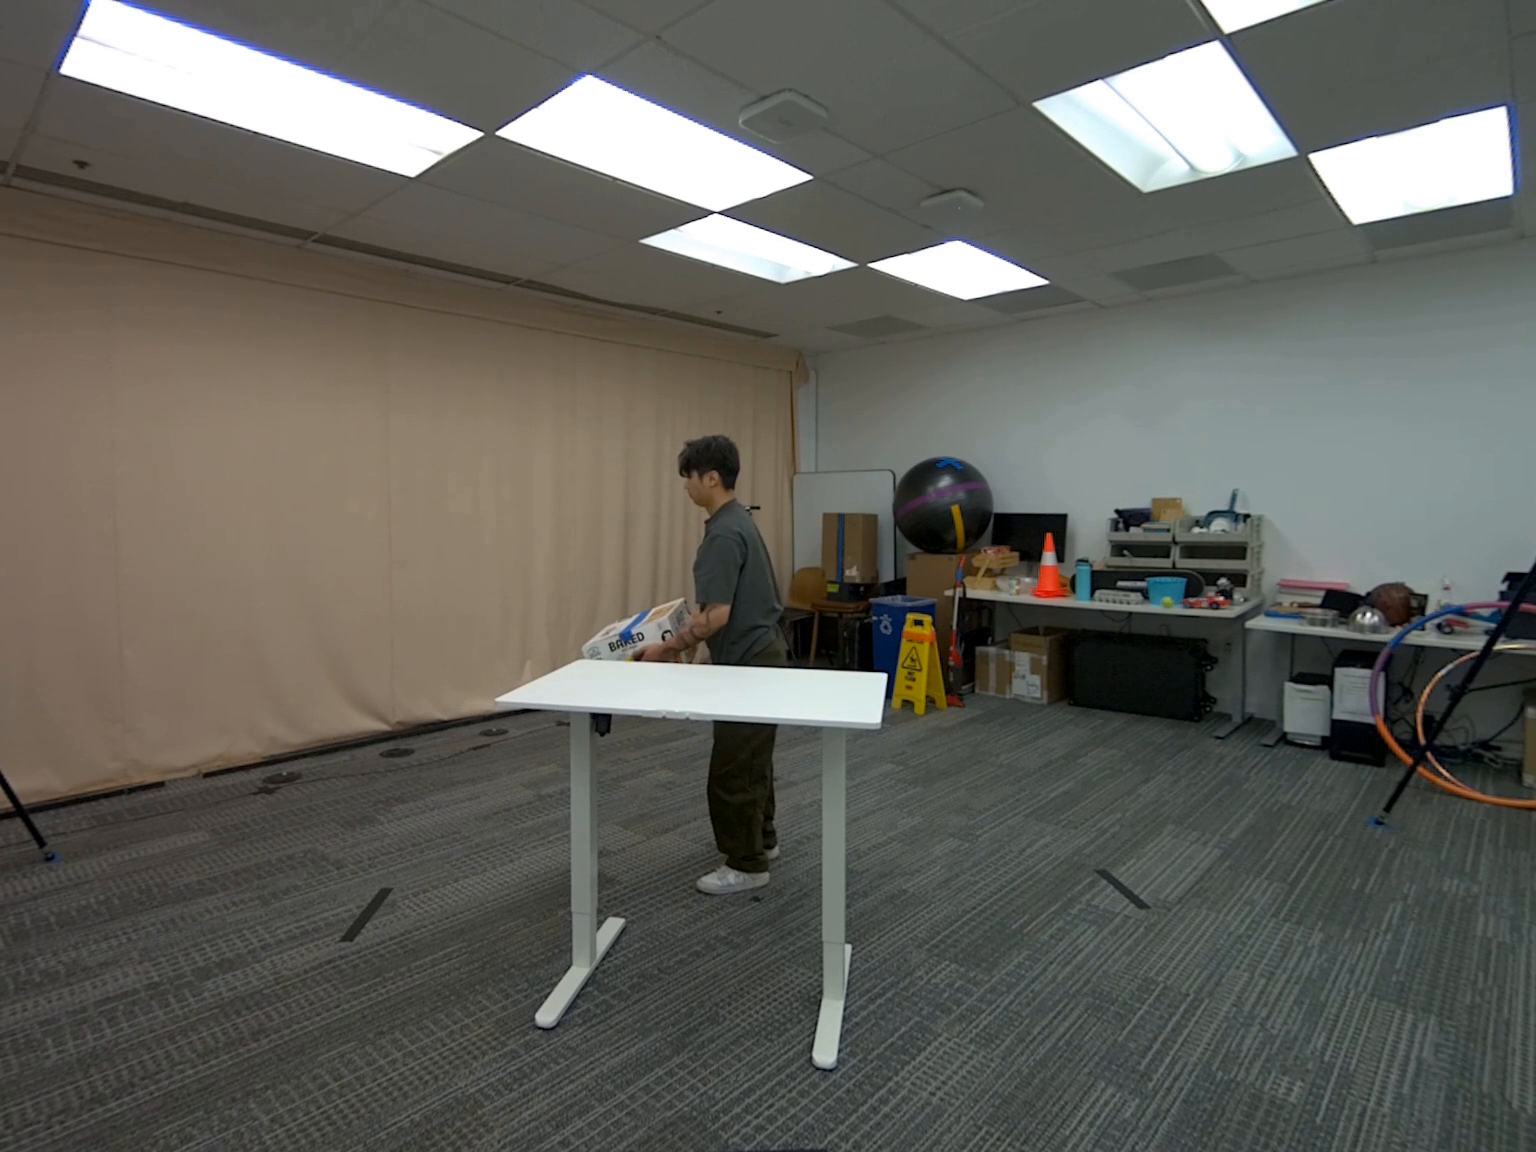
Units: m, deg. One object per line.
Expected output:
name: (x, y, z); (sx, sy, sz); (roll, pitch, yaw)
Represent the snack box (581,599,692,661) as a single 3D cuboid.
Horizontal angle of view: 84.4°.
snack box: (-0.465, 0.268, 3.210); (0.343, 0.205, 0.404); (-20, 6, 7)
